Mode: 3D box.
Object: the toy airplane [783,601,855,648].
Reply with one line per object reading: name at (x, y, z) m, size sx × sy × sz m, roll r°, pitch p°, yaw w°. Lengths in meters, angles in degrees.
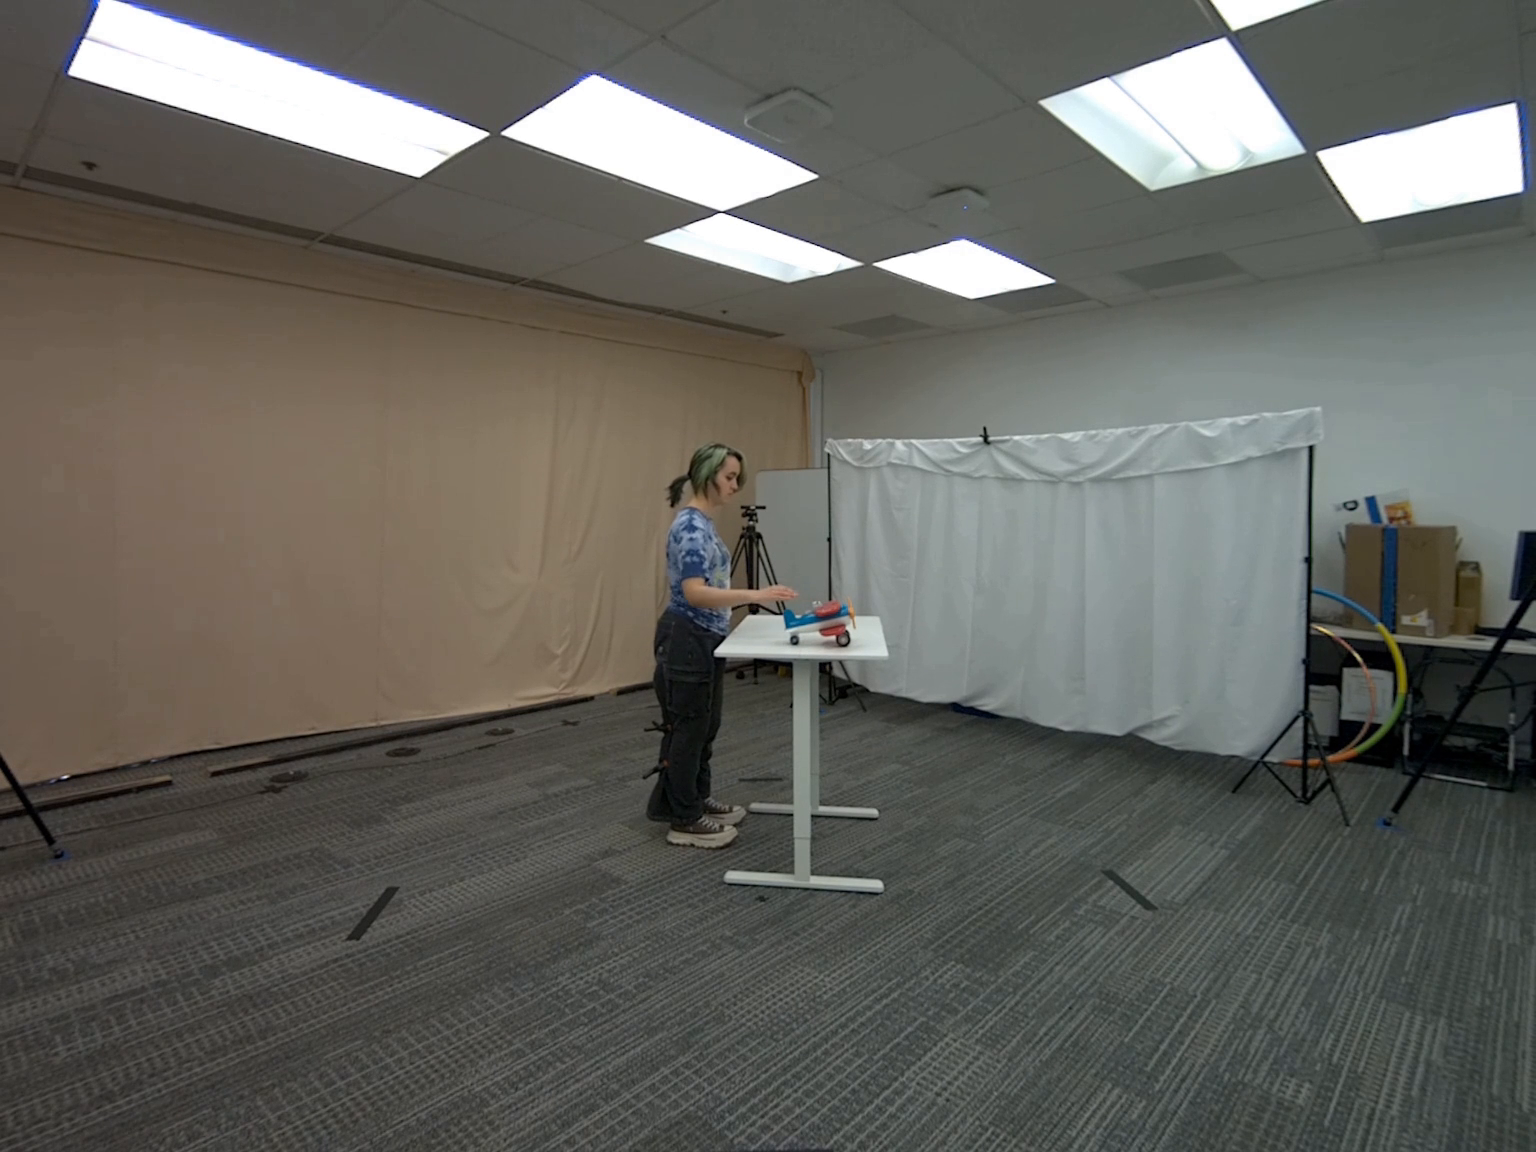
toy airplane at (0.194, 0.177, 3.076) m, size 0.253 × 0.156 × 0.257 m, roll -1°, pitch 5°, yaw -24°
